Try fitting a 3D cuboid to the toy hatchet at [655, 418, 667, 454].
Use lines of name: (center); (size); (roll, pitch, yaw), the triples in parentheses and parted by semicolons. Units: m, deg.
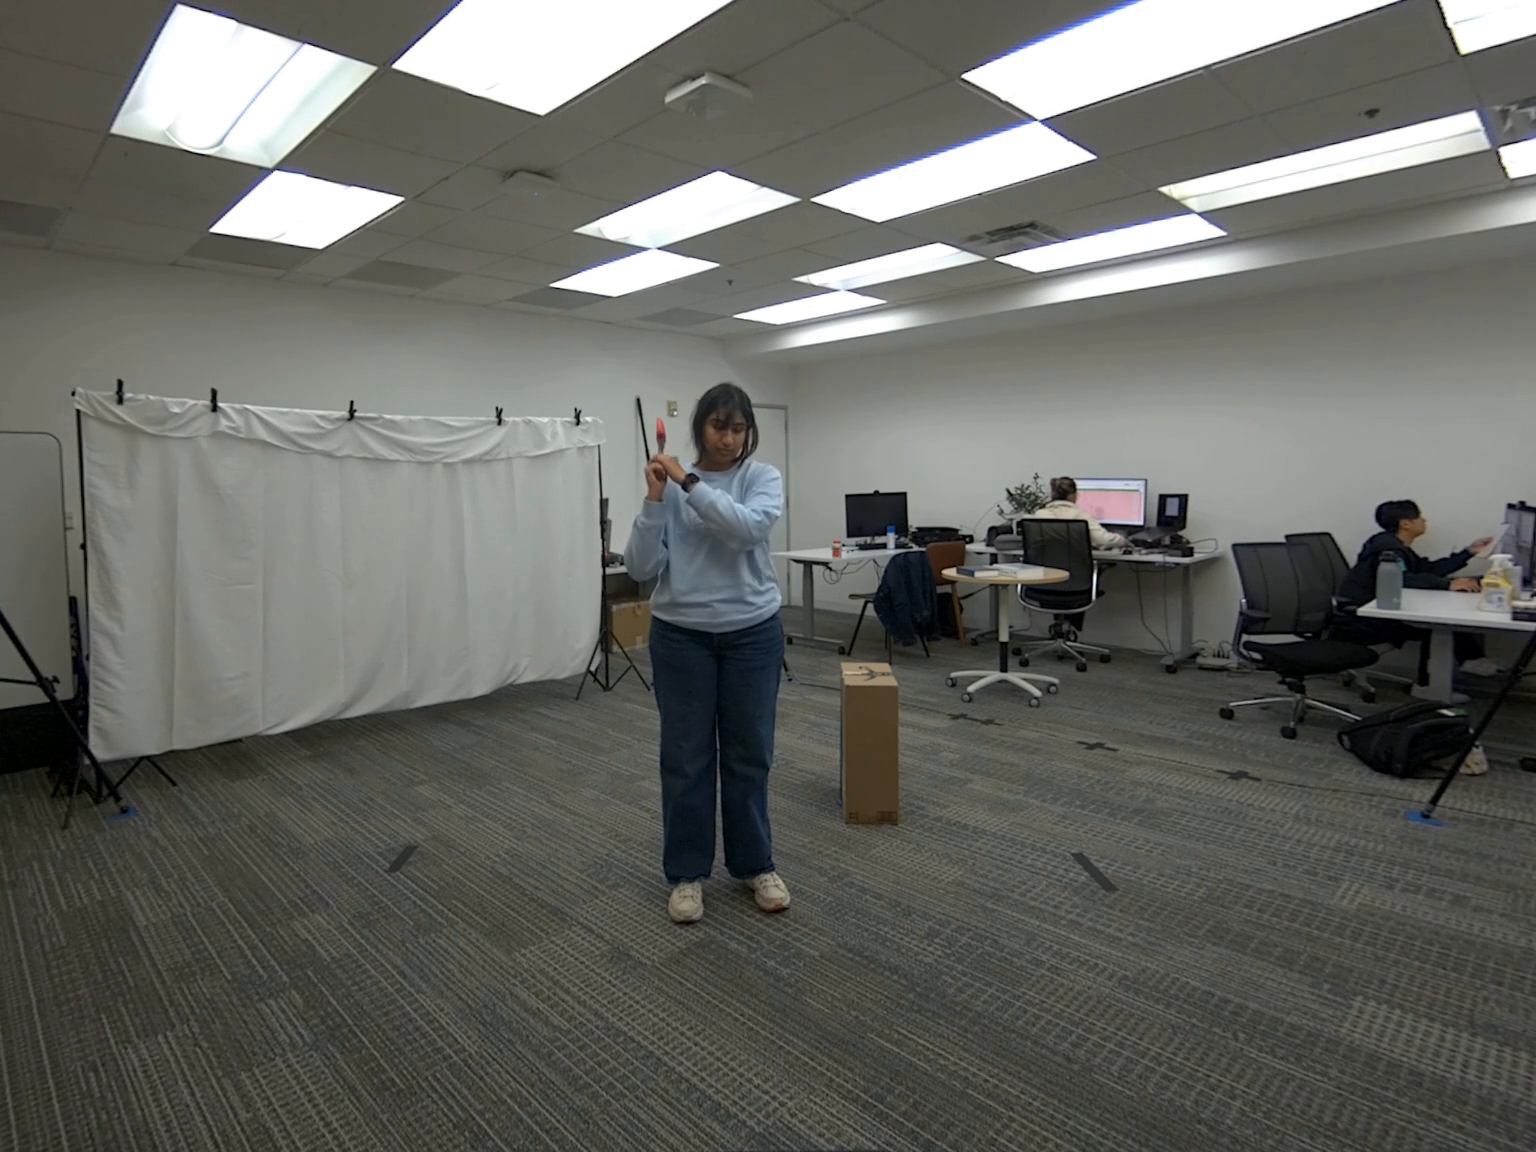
toy hatchet: (-0.331, -0.412, 2.659); (0.029, 0.128, 0.278); (-7, 30, -5)
